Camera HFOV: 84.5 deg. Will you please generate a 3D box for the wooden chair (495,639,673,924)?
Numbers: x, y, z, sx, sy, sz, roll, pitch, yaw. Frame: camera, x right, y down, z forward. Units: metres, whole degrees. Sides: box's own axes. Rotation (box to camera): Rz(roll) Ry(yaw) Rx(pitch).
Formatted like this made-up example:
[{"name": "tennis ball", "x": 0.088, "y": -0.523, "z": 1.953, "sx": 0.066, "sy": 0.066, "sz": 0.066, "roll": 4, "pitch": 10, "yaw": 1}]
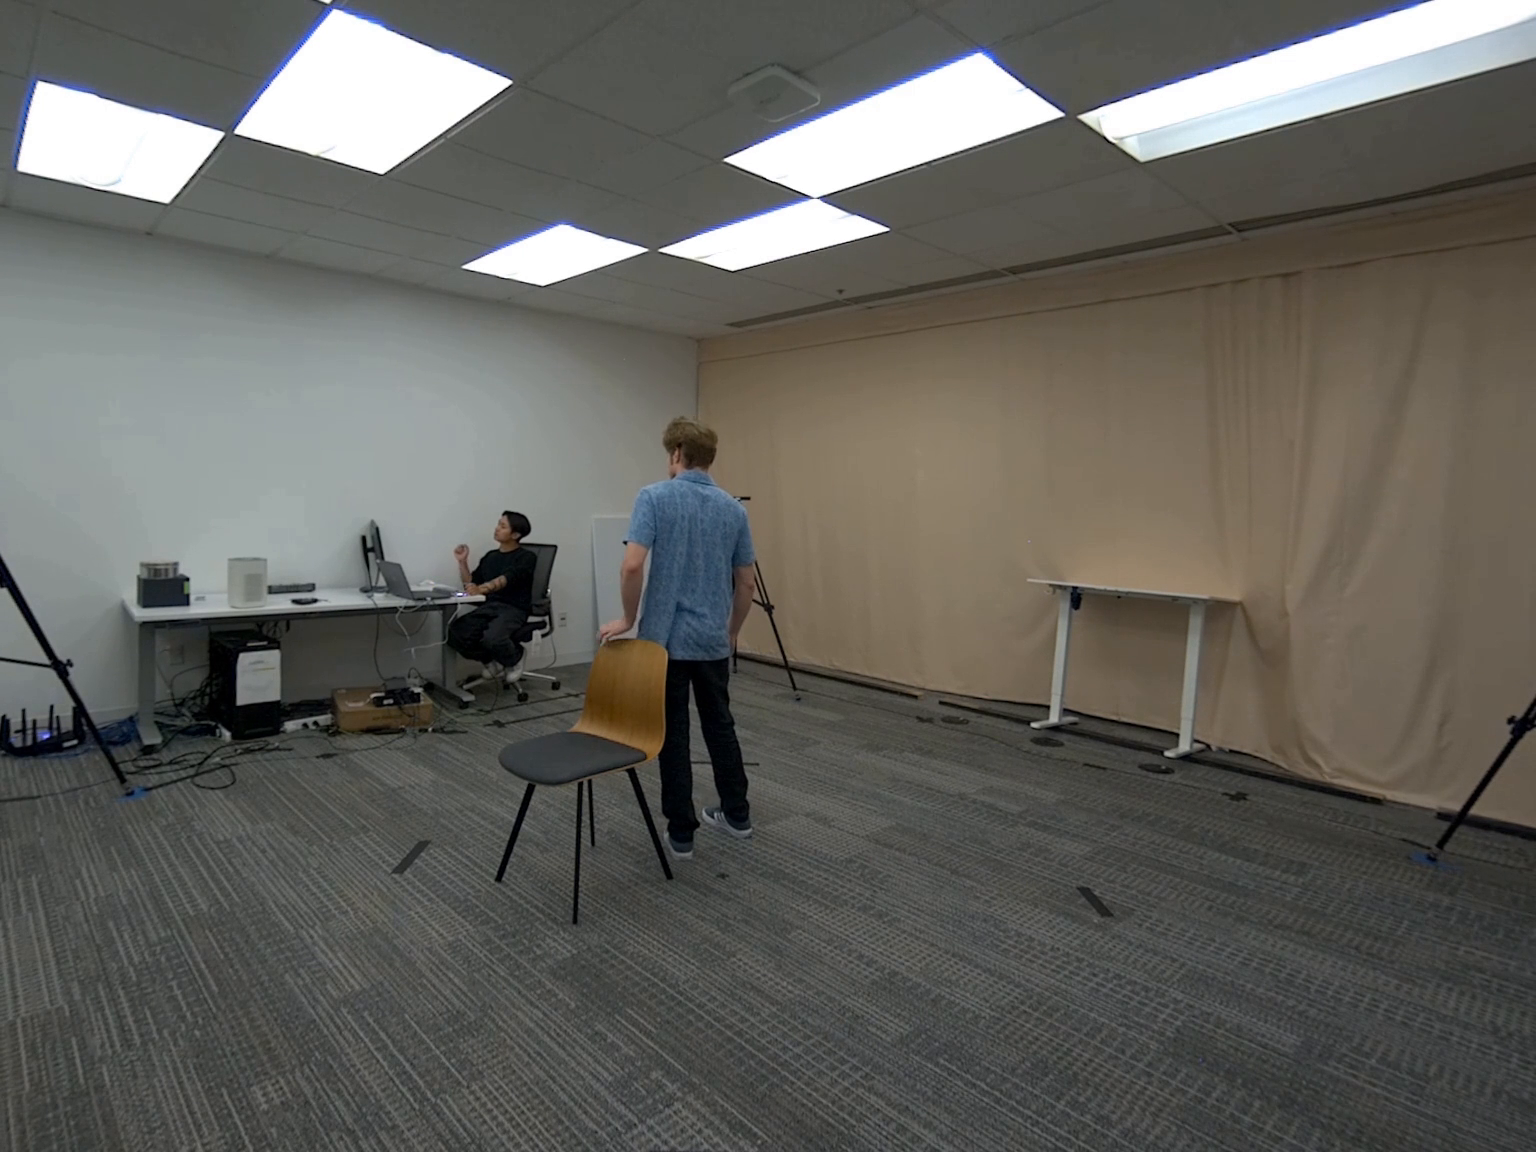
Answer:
[{"name": "wooden chair", "x": -0.658, "y": 0.677, "z": 2.998, "sx": 0.490, "sy": 0.877, "sz": 0.510, "roll": 4, "pitch": 0, "yaw": 39}]
